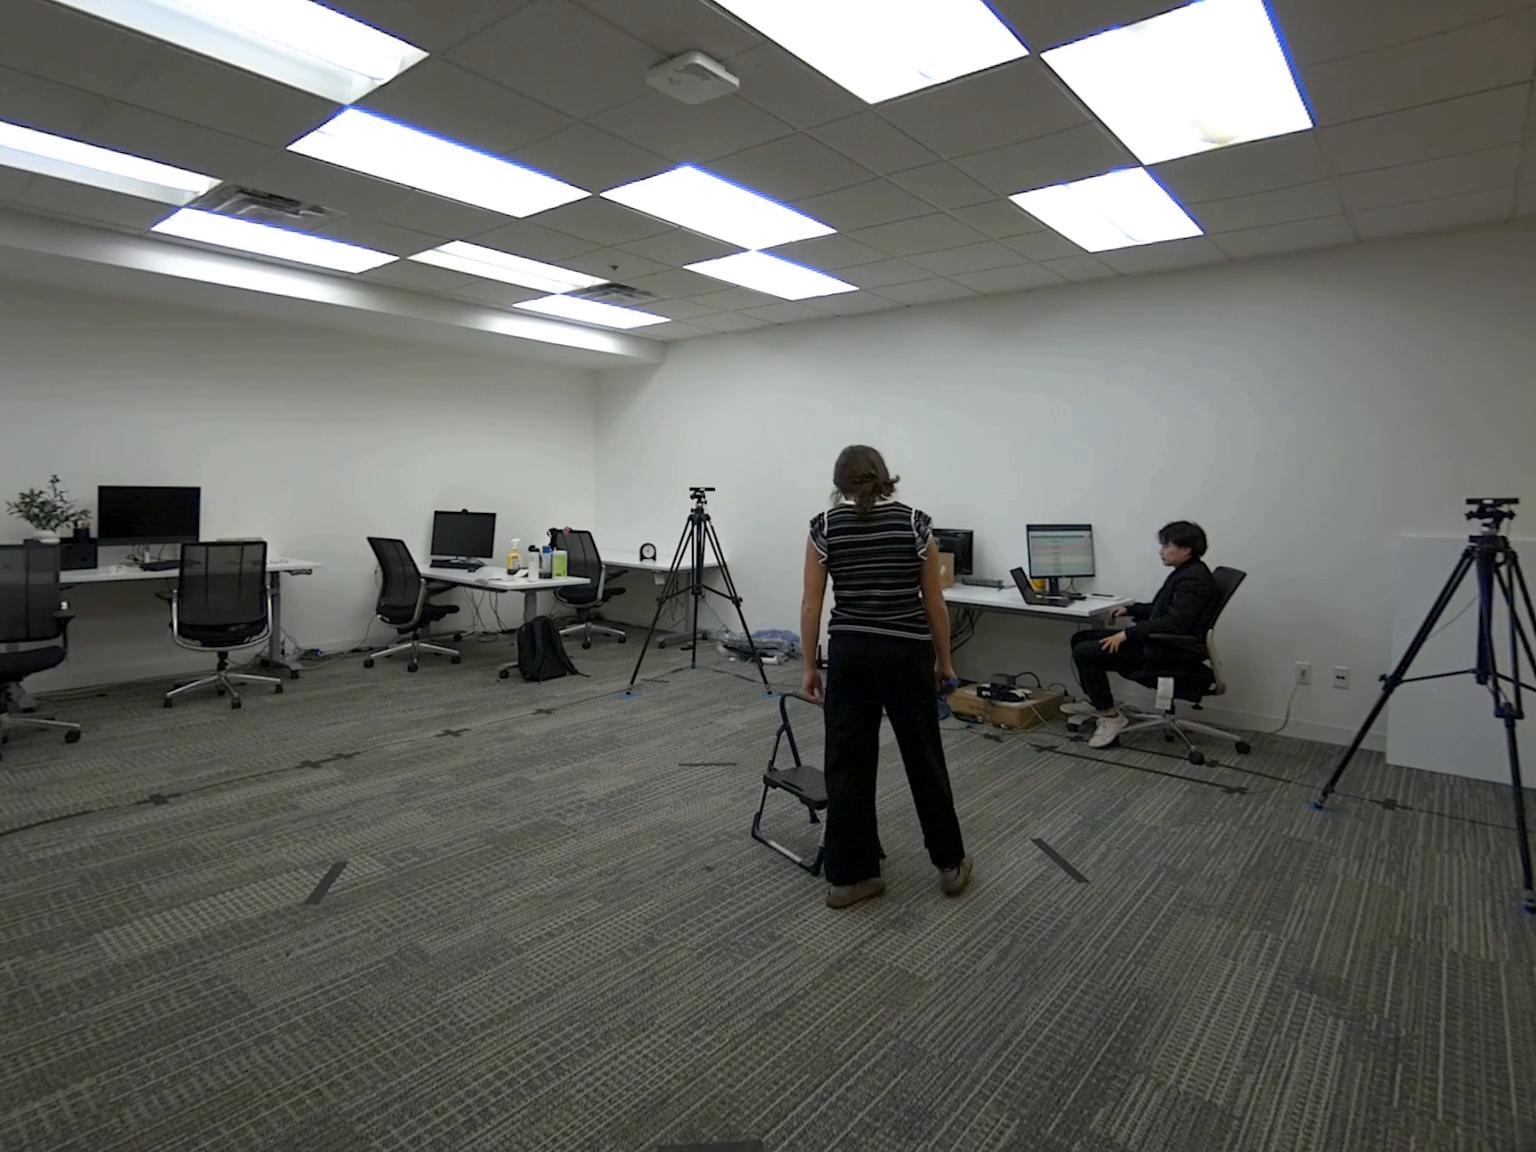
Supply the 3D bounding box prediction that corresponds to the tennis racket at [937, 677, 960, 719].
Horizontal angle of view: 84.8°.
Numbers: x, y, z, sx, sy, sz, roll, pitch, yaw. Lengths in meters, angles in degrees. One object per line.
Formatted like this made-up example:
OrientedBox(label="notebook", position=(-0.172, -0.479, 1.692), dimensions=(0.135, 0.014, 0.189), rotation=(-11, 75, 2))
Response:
OrientedBox(label="tennis racket", position=(0.547, 0.440, 3.103), dimensions=(0.215, 0.032, 0.426), rotation=(22, -30, 2))
